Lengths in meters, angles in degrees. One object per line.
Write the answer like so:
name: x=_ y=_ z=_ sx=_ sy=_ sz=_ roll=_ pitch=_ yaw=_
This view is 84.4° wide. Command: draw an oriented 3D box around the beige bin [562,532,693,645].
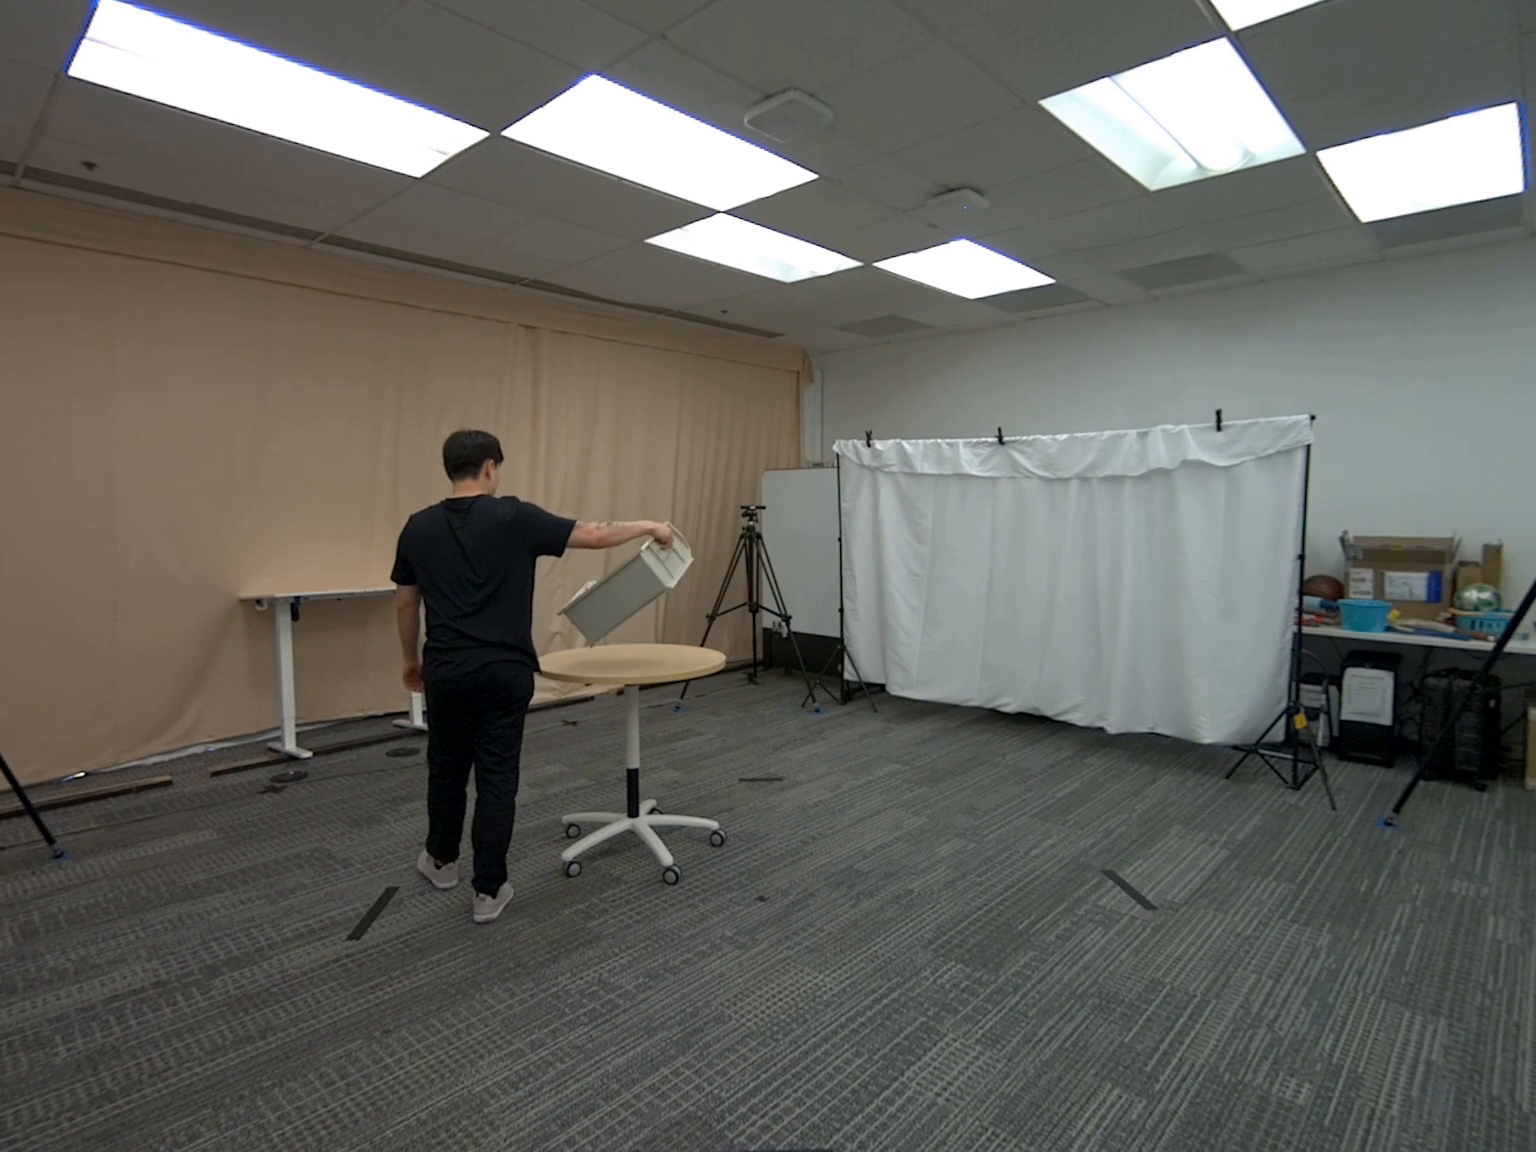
beige bin: x=-0.512 y=0.026 z=3.144 sx=0.426 sy=0.187 sz=0.377 roll=-35 pitch=10 yaw=18
